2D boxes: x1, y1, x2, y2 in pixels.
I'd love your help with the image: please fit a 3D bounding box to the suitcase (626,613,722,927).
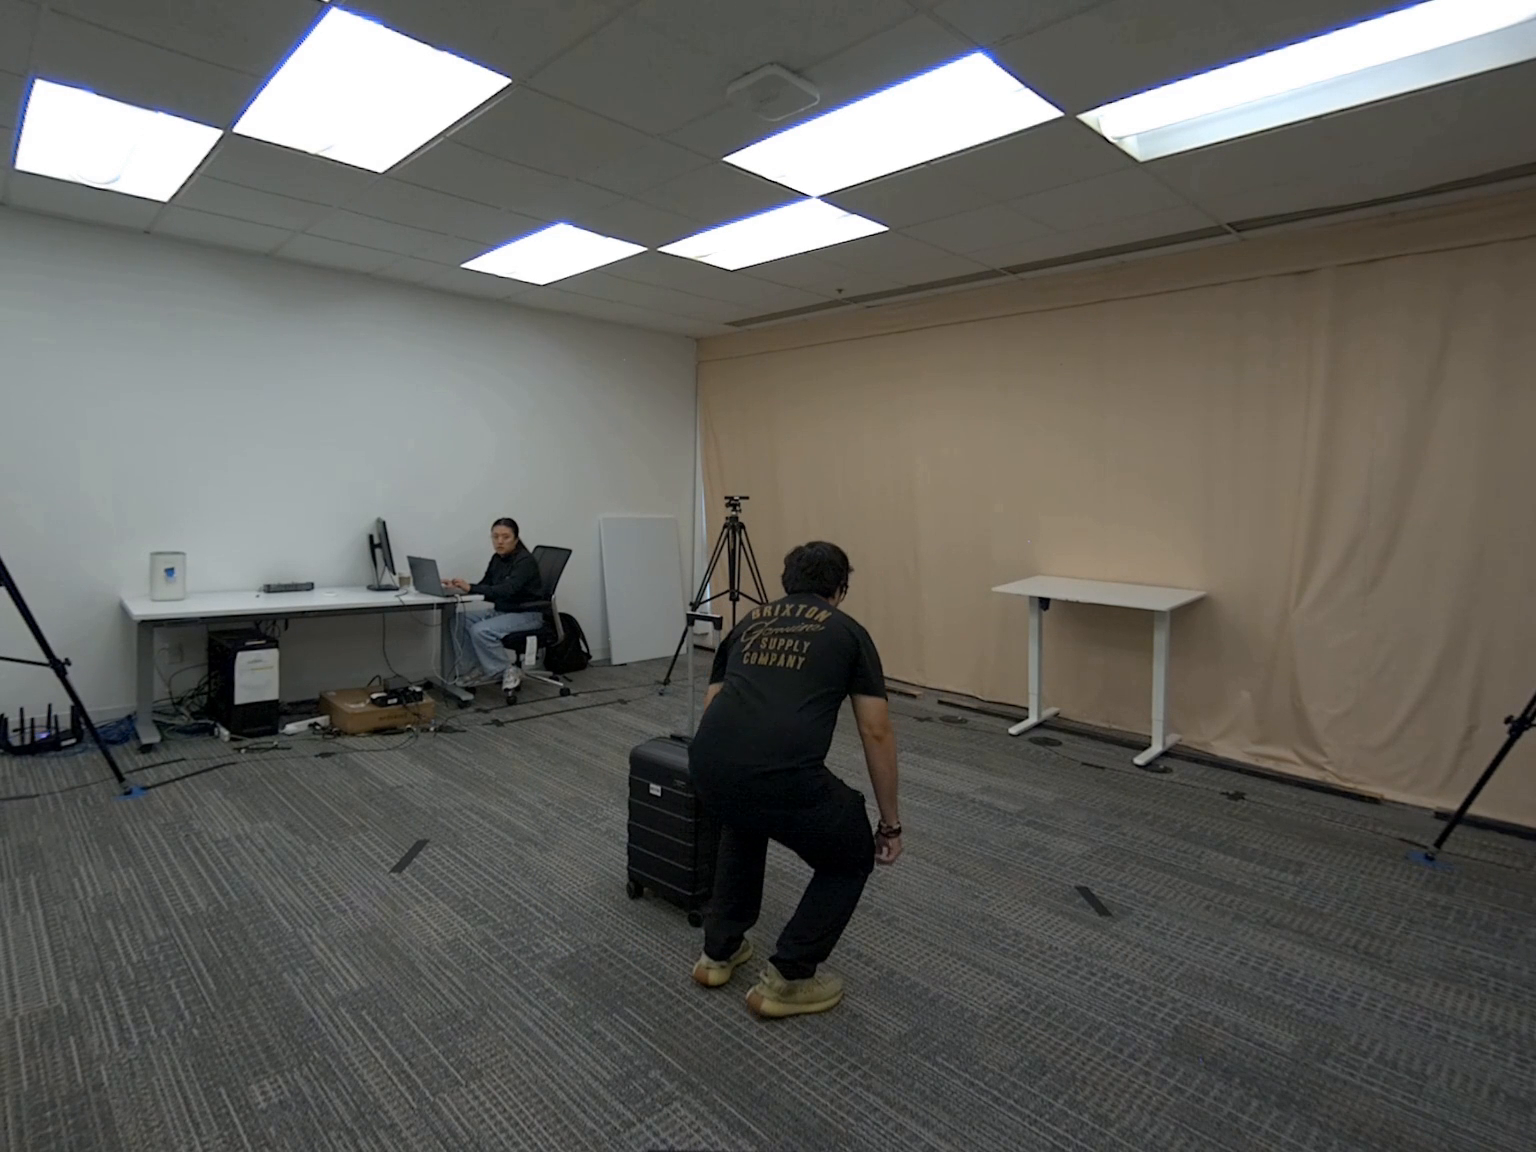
[{"bbox_3d":[-0.300,0.643,2.893,0.393,0.976,0.251,3,5,39],"label":"suitcase"}]
